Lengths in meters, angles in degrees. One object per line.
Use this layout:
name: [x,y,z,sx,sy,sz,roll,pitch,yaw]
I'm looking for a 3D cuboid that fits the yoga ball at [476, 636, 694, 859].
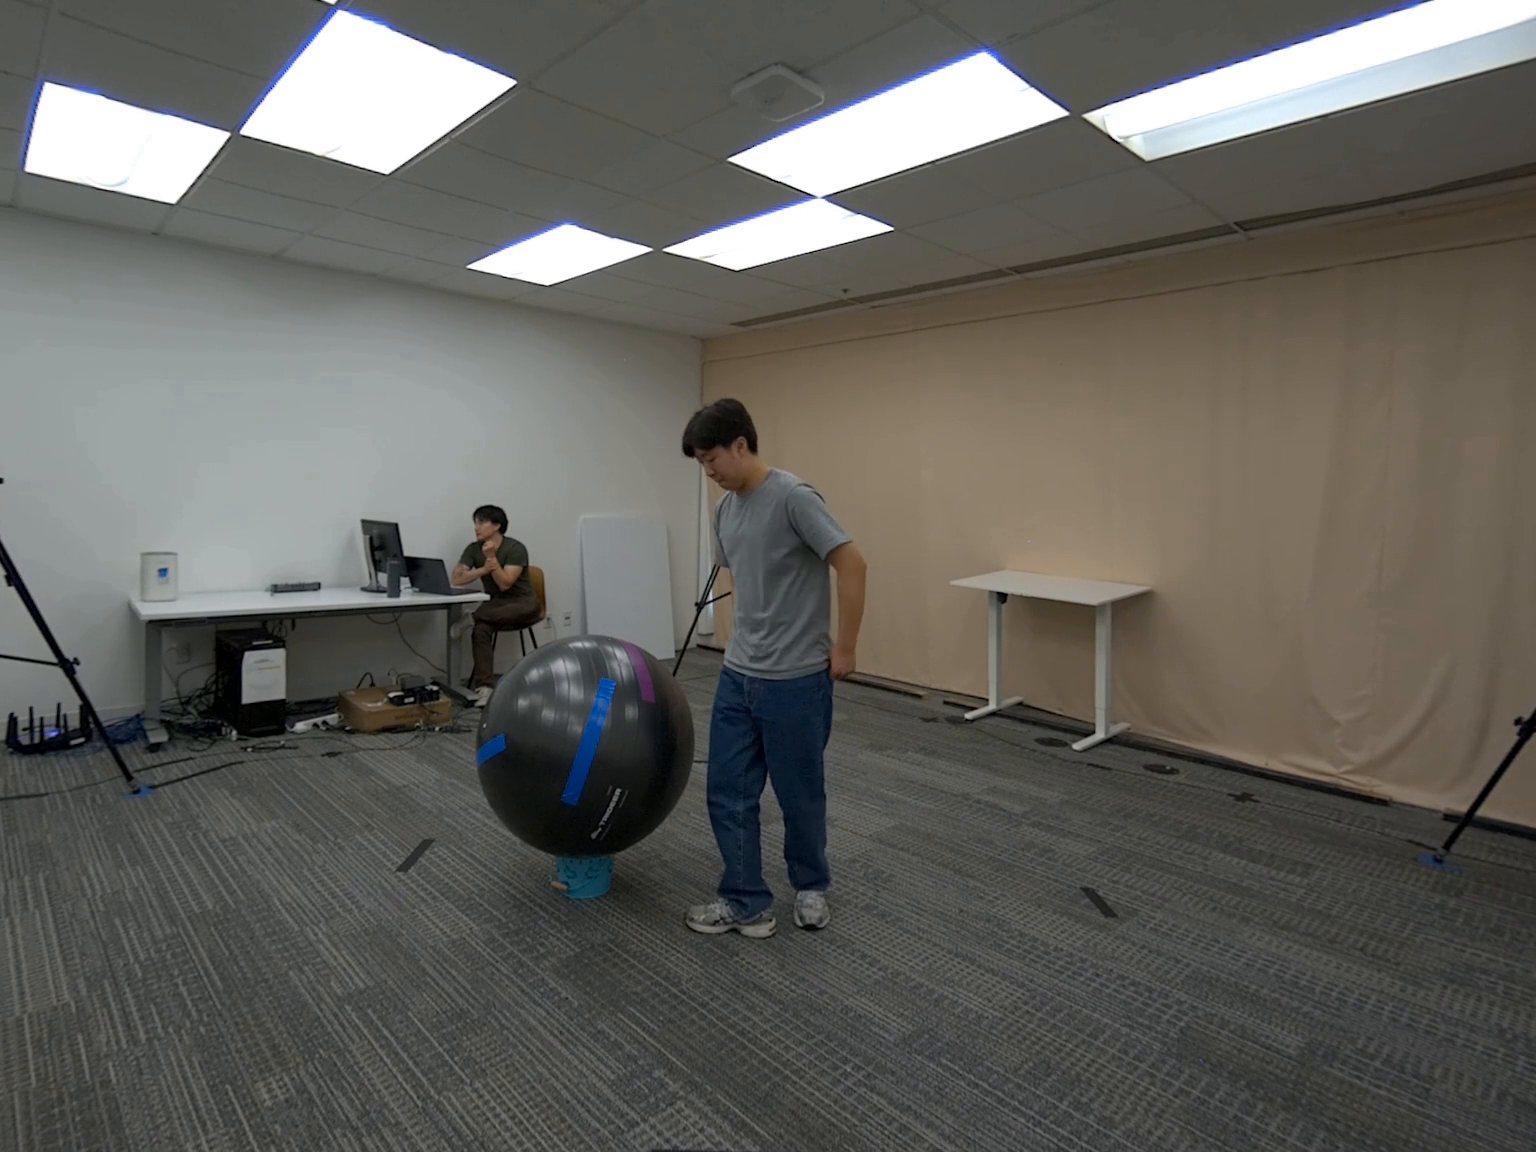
yoga ball: [-0.643,0.594,2.972,0.757,0.756,0.761,1,4,-1]
